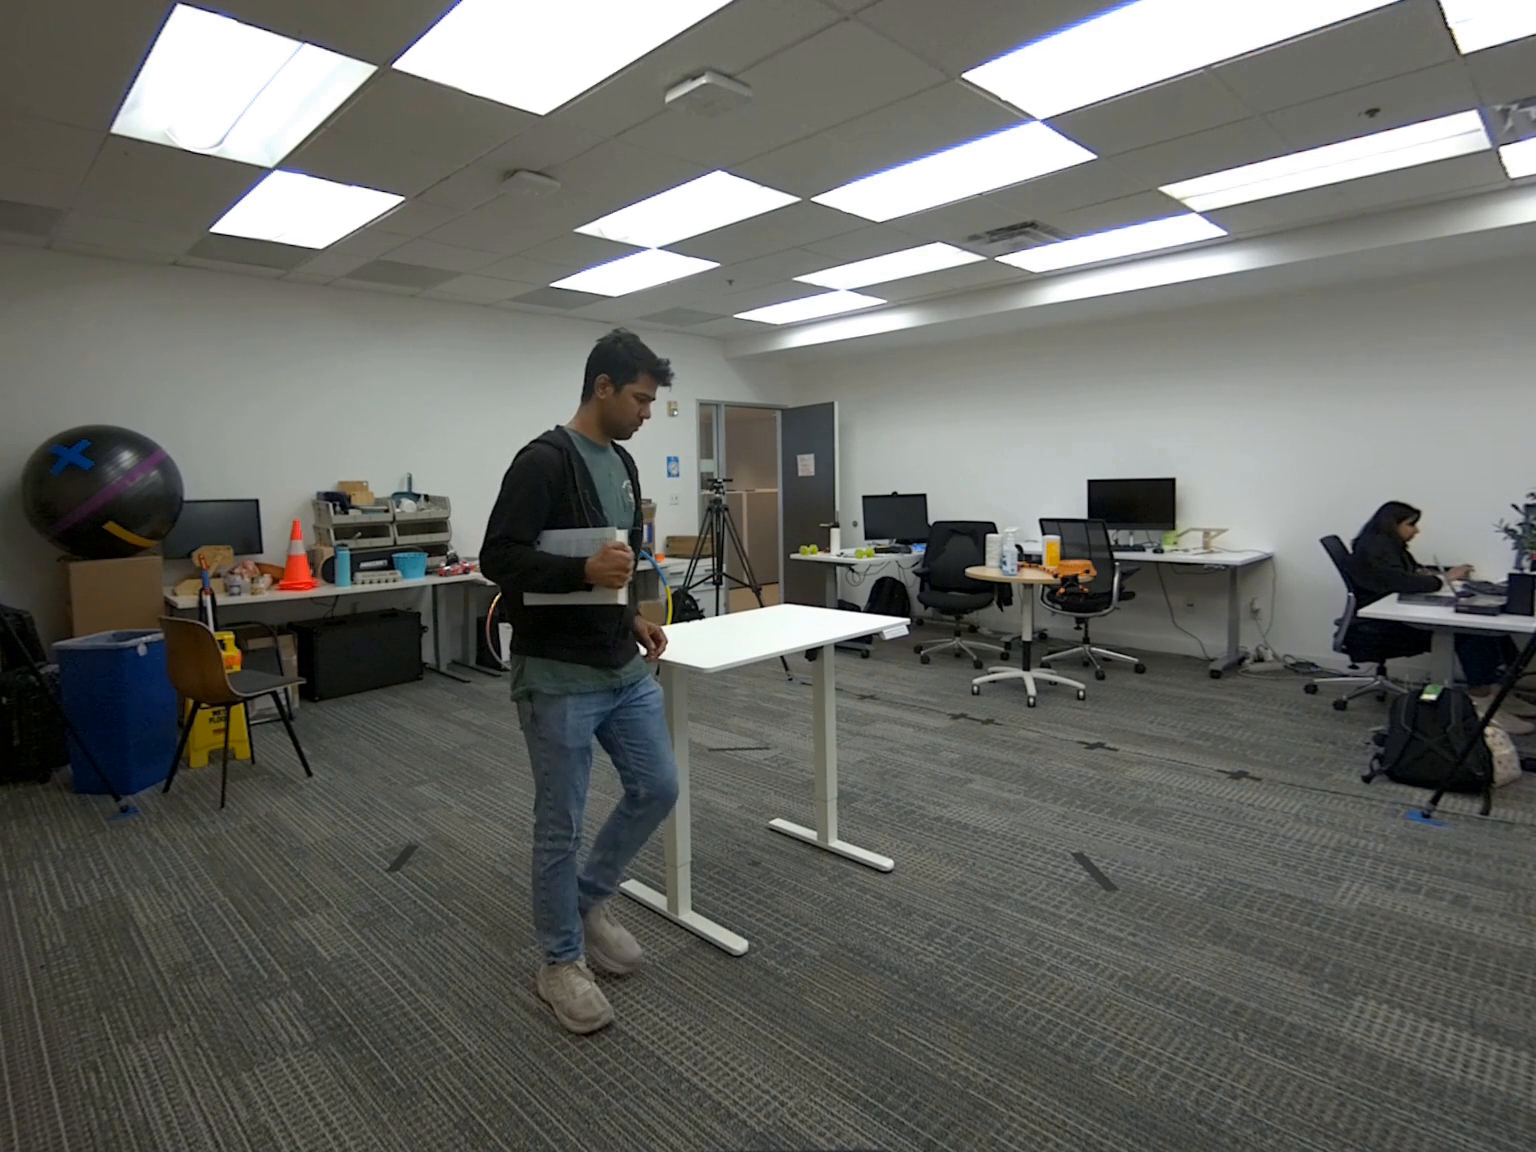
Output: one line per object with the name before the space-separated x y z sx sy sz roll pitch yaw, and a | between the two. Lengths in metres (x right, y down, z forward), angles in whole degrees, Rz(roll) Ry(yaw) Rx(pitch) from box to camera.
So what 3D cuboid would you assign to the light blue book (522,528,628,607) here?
light blue book | -0.489 -0.019 2.164 0.265 0.192 0.058 -1 -3 17
